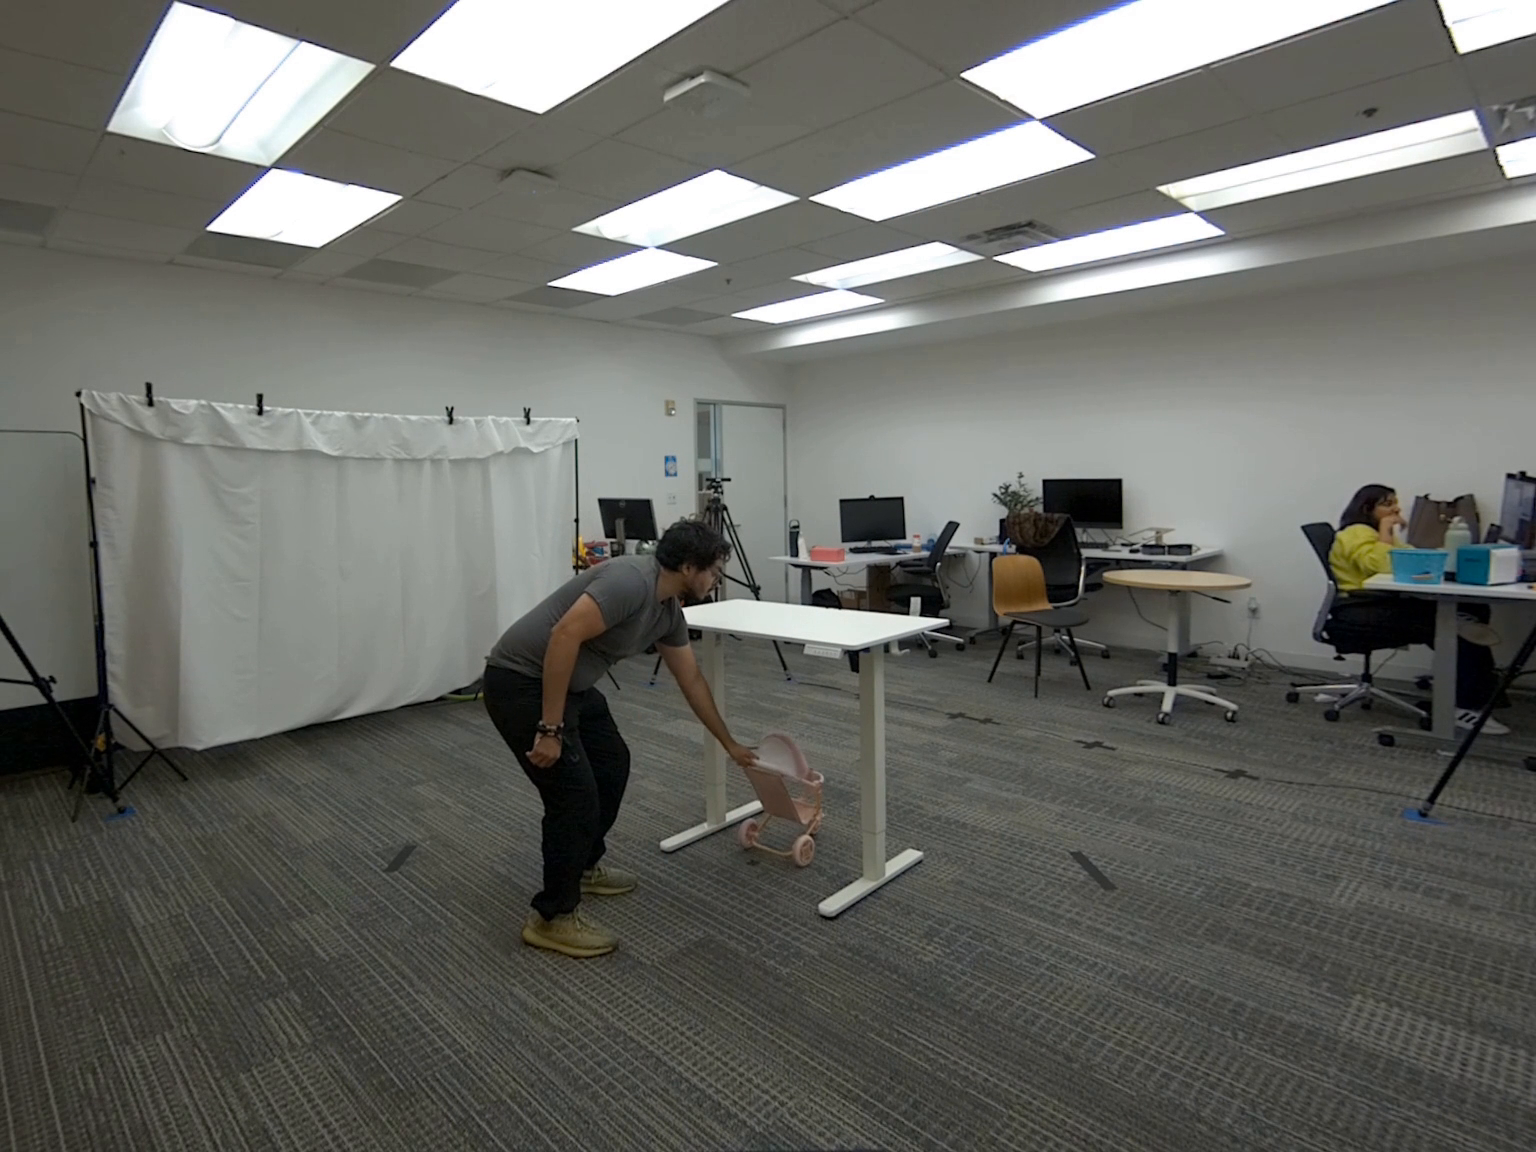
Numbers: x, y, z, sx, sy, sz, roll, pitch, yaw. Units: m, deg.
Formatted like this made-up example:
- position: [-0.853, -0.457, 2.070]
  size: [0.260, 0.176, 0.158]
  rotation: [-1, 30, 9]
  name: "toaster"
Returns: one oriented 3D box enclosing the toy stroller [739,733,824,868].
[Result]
- position: [0.063, 0.809, 3.183]
  size: [0.290, 0.525, 0.337]
  rotation: [4, 23, 43]
  name: "toy stroller"
